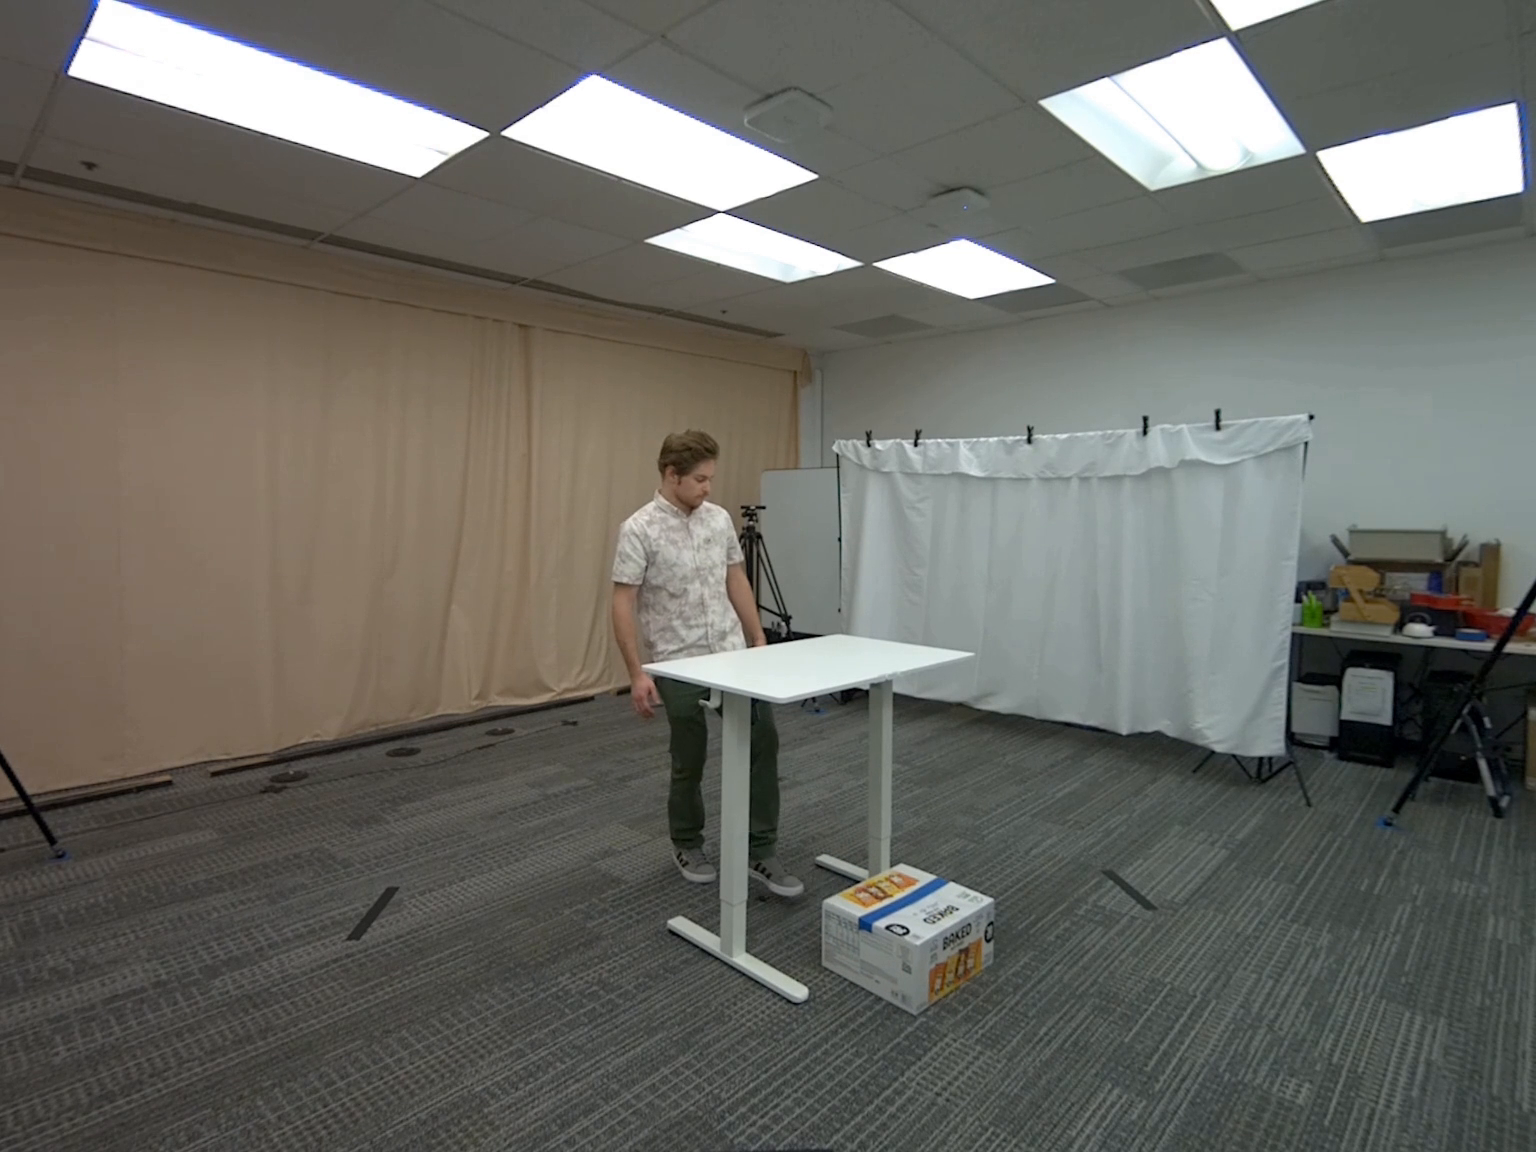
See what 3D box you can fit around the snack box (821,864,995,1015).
[{"bbox_3d":[0.430,1.080,2.537,0.393,0.205,0.352,-4,6,-43],"label":"snack box"}]
